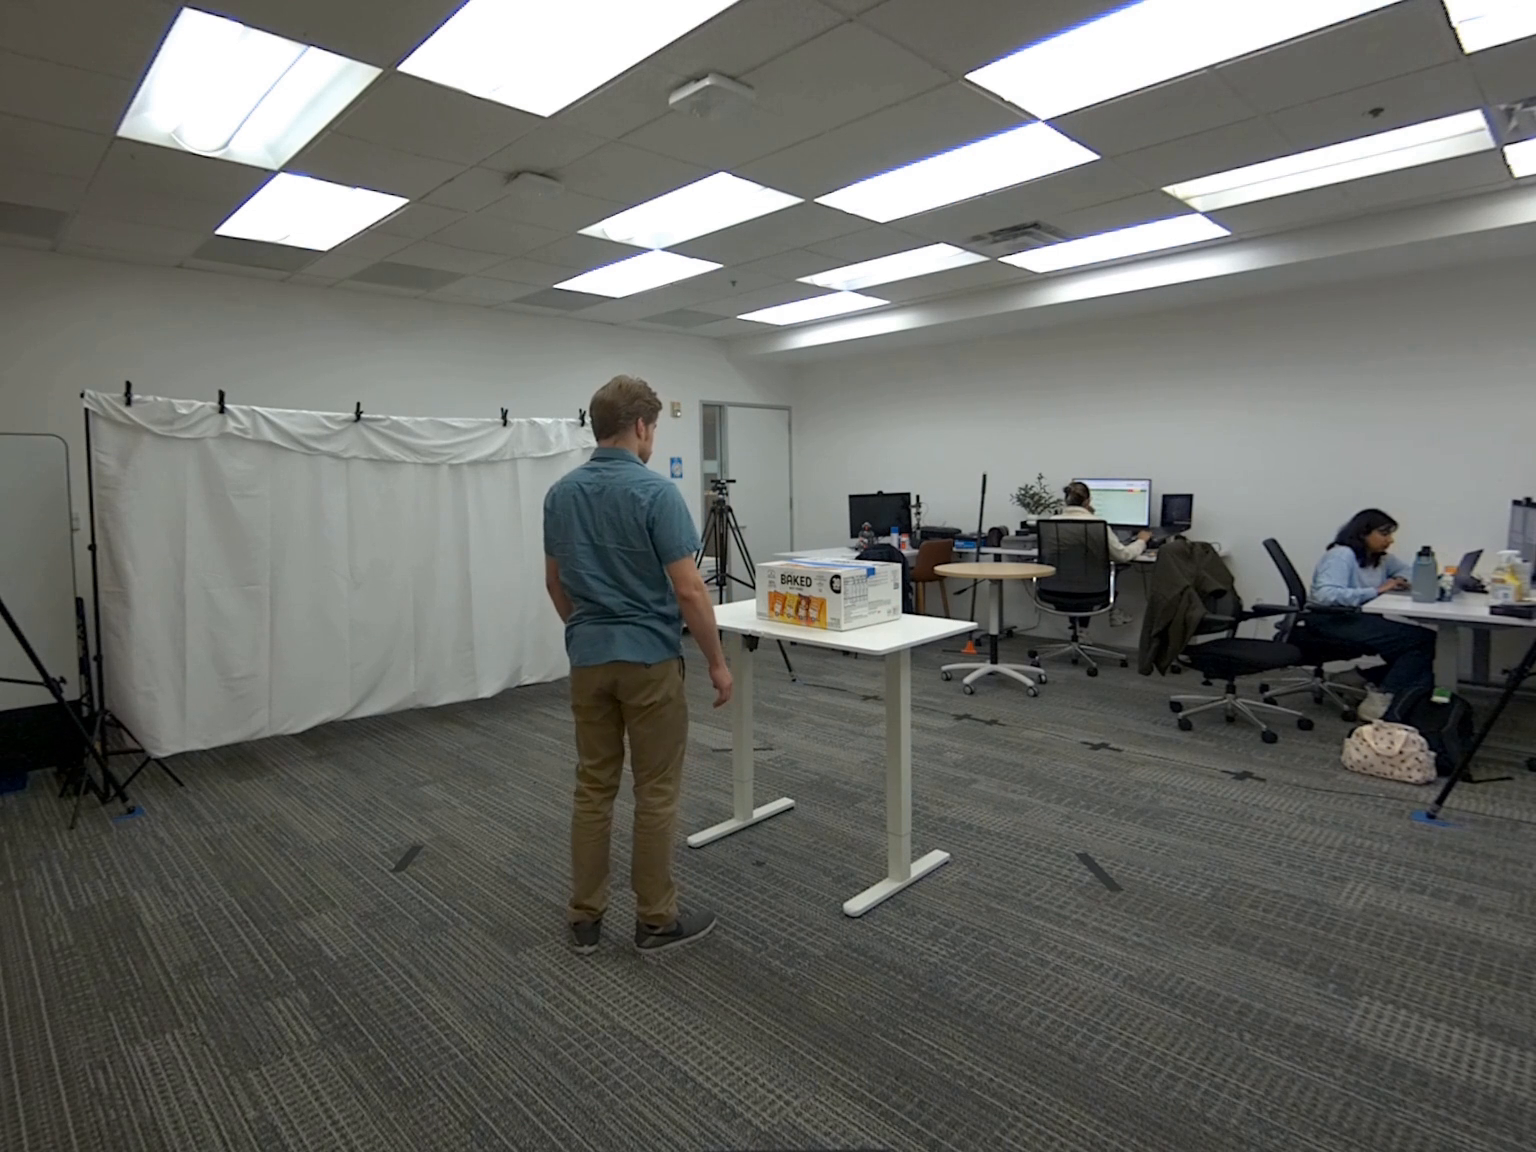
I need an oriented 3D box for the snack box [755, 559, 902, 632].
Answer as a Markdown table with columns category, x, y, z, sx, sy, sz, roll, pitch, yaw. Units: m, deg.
| category | x | y | z | sx | sy | sz | roll | pitch | yaw |
| --- | --- | --- | --- | --- | --- | --- | --- | --- | --- |
| snack box | 0.219 | 0.056 | 3.114 | 0.331 | 0.205 | 0.418 | -8 | 9 | -44 |
